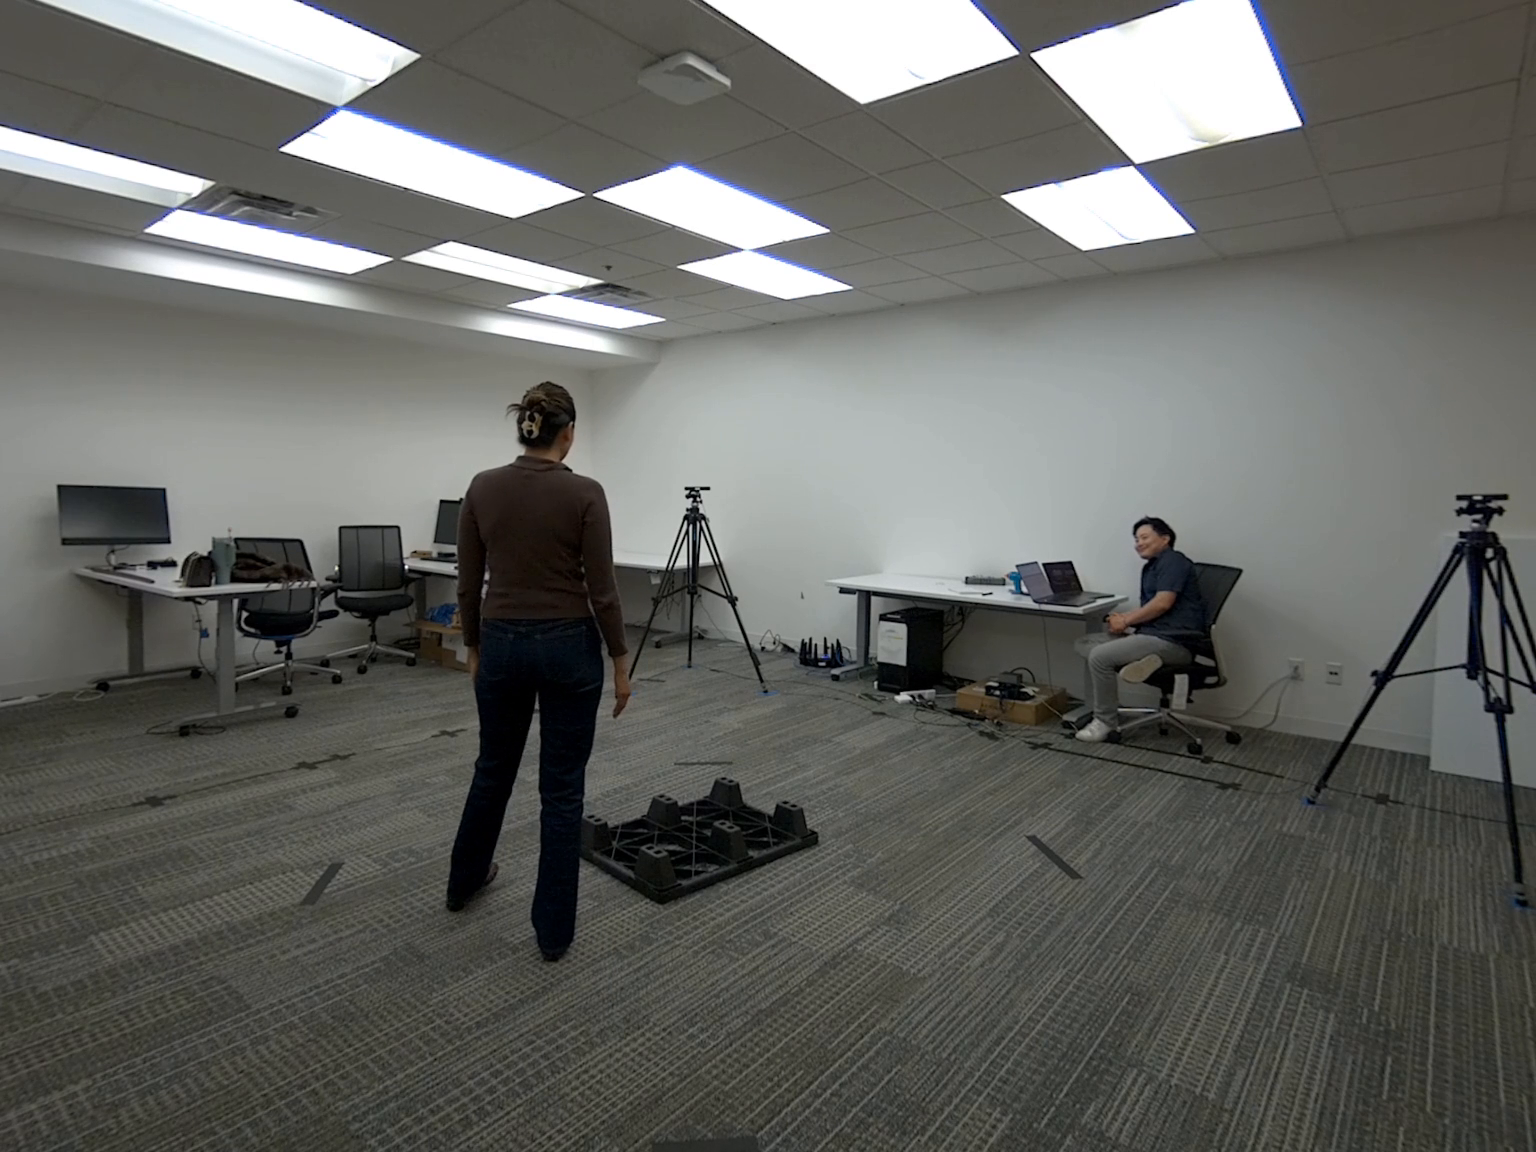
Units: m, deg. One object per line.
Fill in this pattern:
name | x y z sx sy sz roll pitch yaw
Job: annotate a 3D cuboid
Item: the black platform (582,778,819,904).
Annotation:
black platform | -0.294 0.978 3.295 0.782 0.143 0.626 -5 8 -44
